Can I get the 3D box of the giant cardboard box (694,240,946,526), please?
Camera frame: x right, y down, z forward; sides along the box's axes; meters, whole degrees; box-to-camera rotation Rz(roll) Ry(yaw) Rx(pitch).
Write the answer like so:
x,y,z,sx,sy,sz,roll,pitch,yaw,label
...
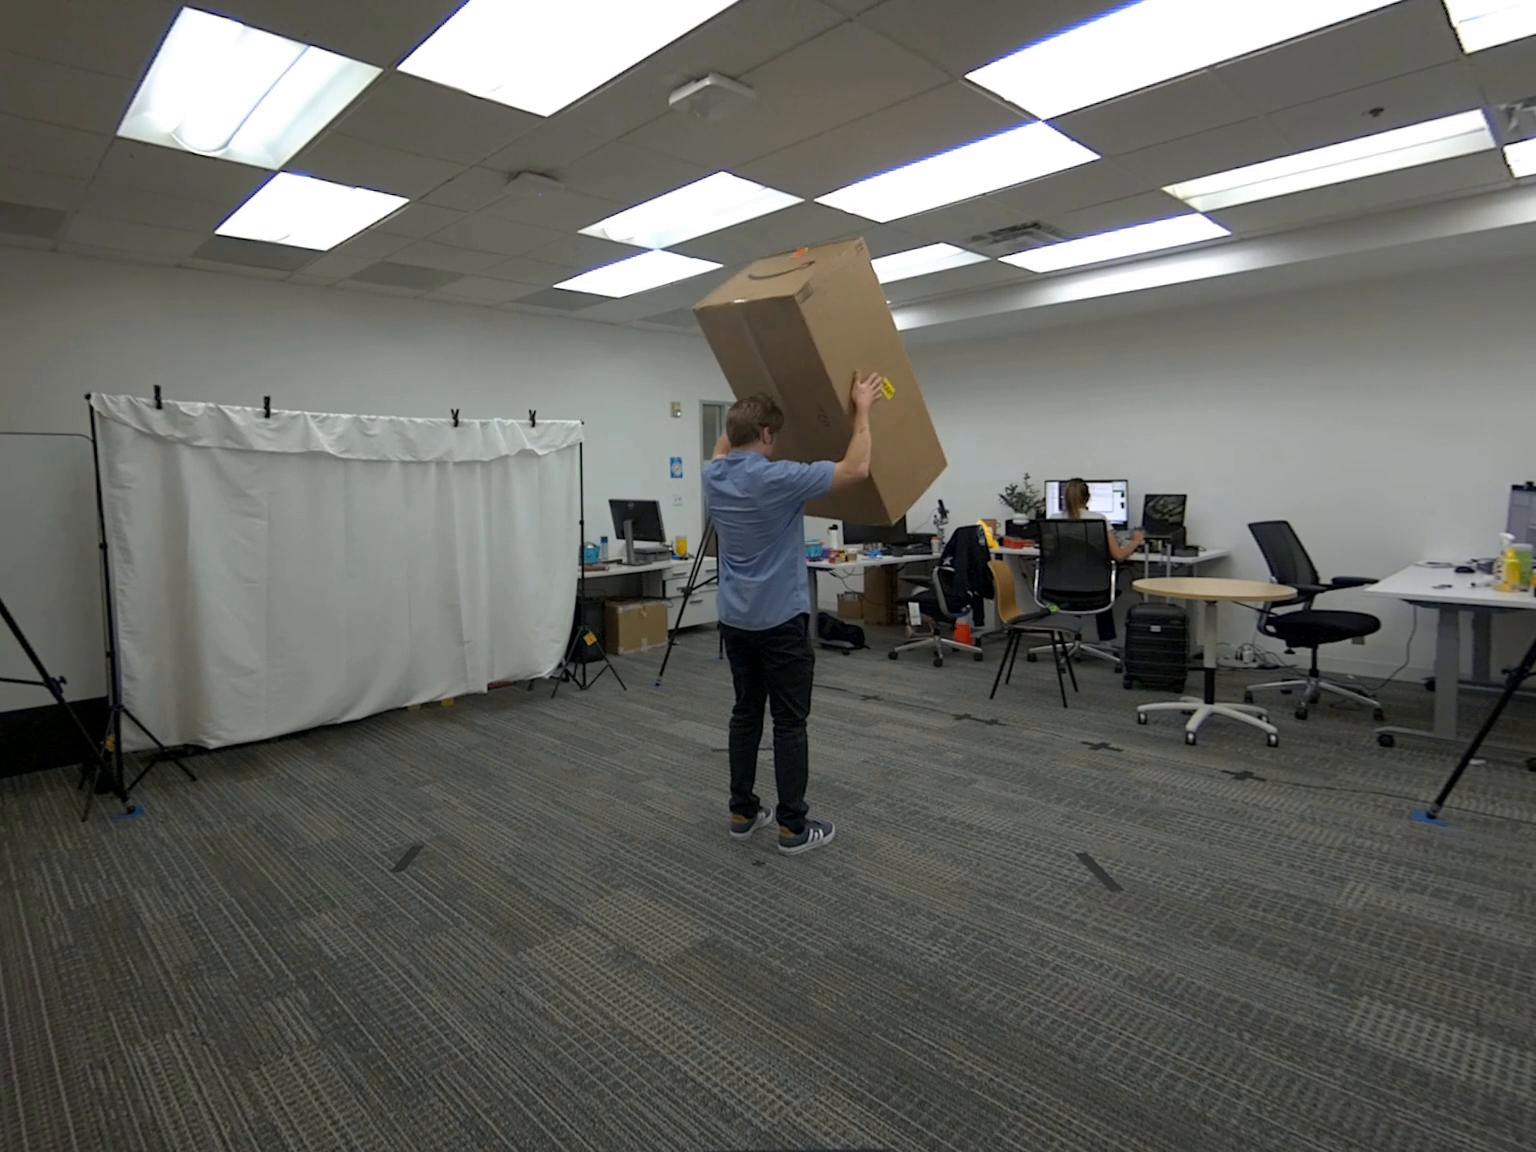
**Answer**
x,y,z,sx,sy,sz,roll,pitch,yaw,label
0.228,-0.746,3.459,0.597,0.994,0.425,11,47,49,giant cardboard box
